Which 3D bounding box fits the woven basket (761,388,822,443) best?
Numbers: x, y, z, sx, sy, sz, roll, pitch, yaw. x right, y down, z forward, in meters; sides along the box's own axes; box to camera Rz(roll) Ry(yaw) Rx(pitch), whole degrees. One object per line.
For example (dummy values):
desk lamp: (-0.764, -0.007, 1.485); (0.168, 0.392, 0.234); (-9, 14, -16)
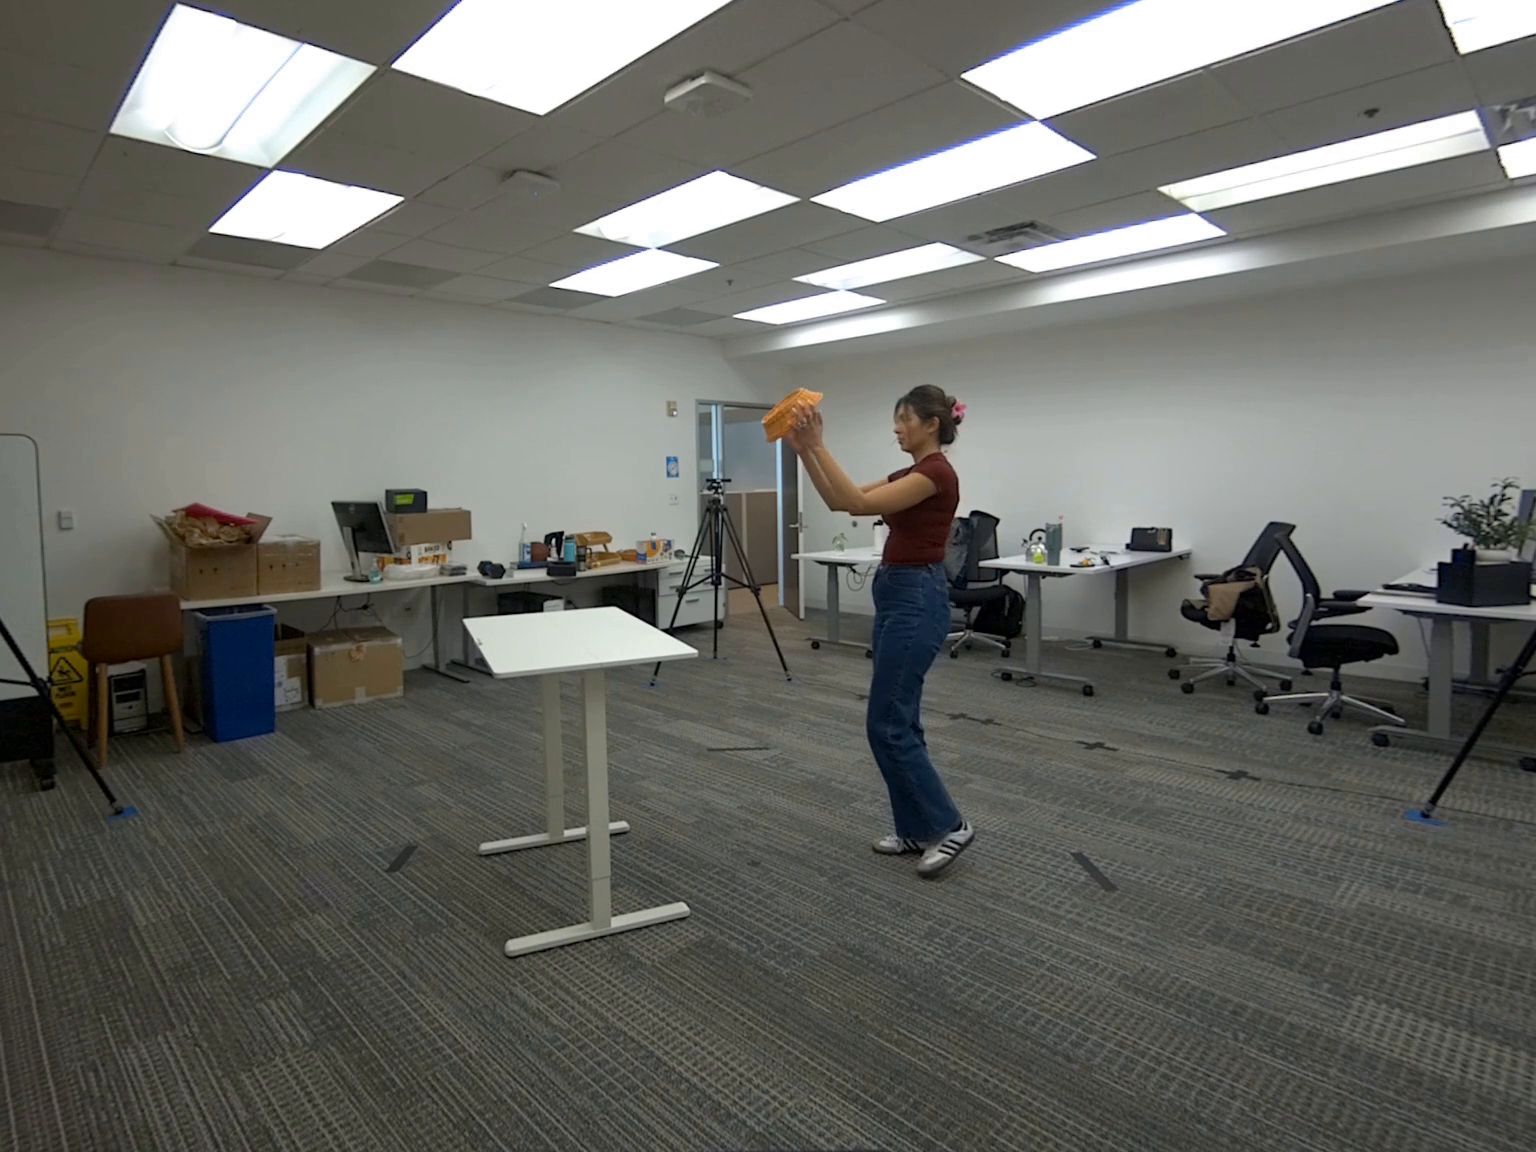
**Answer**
woven basket: (0.090, -0.590, 3.060); (0.252, 0.072, 0.355); (-44, 12, -3)
